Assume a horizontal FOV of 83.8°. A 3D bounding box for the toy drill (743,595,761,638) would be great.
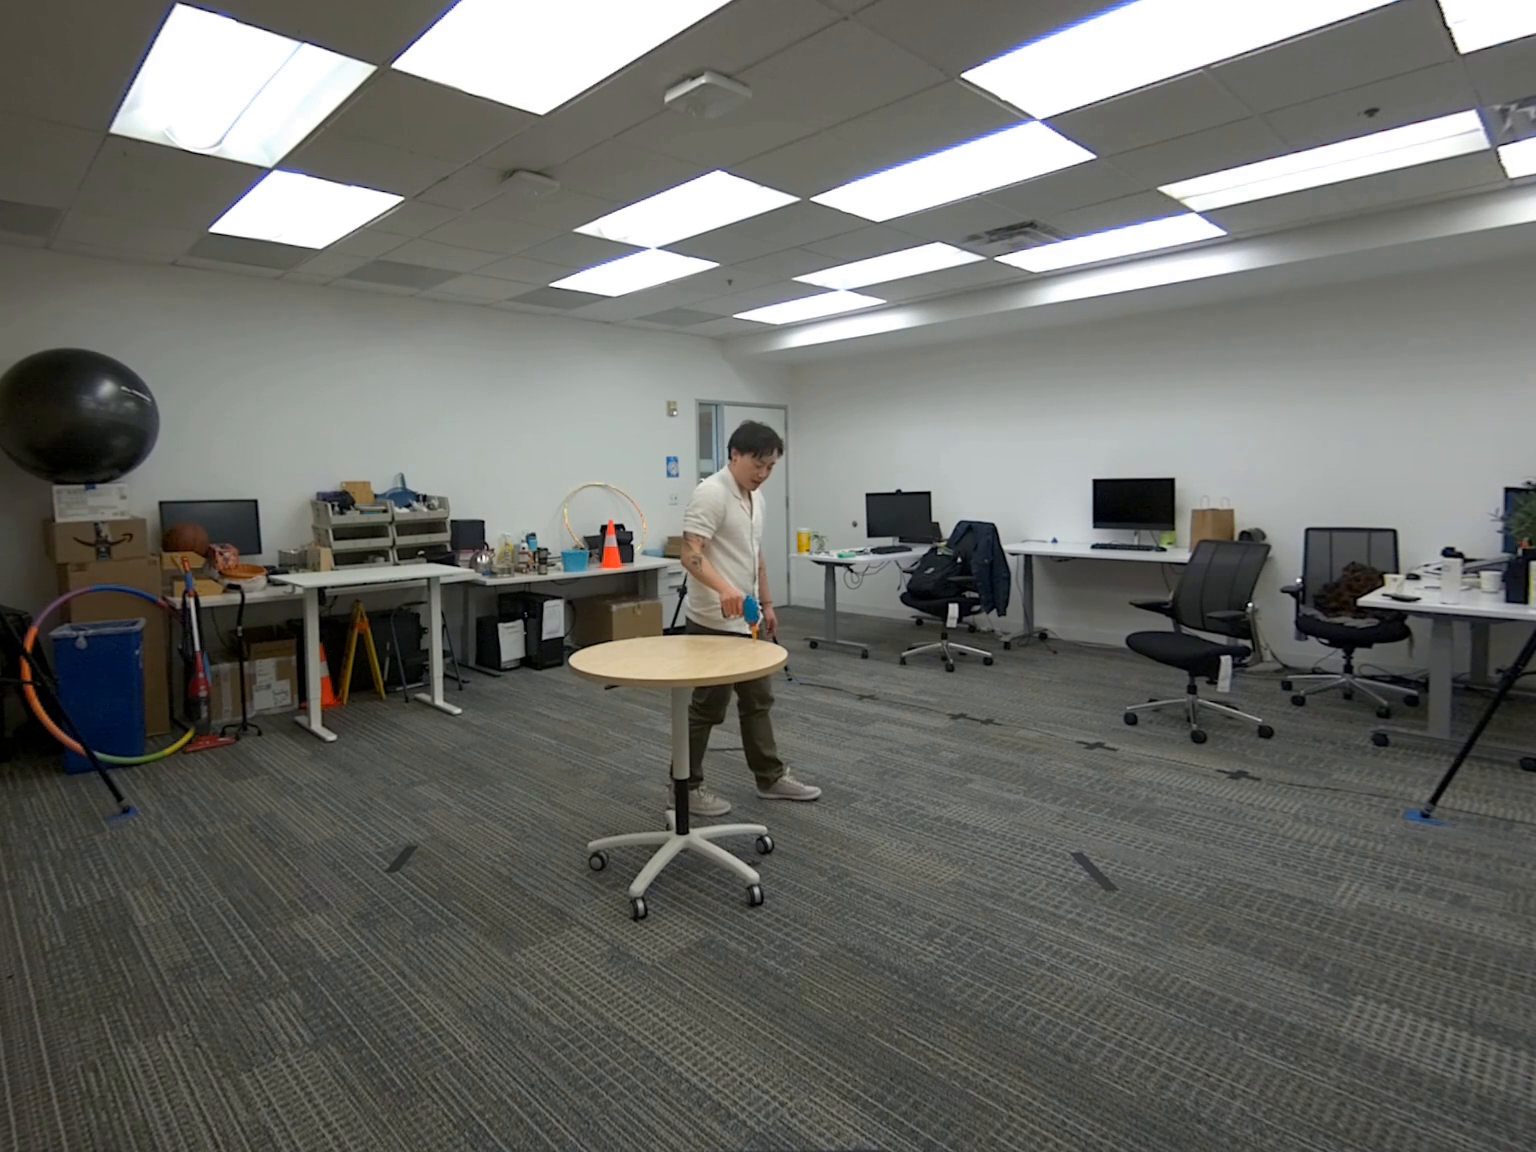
[{"bbox_3d":[-0.095,0.158,3.185,0.149,0.169,0.060,-4,7,28],"label":"toy drill"}]
